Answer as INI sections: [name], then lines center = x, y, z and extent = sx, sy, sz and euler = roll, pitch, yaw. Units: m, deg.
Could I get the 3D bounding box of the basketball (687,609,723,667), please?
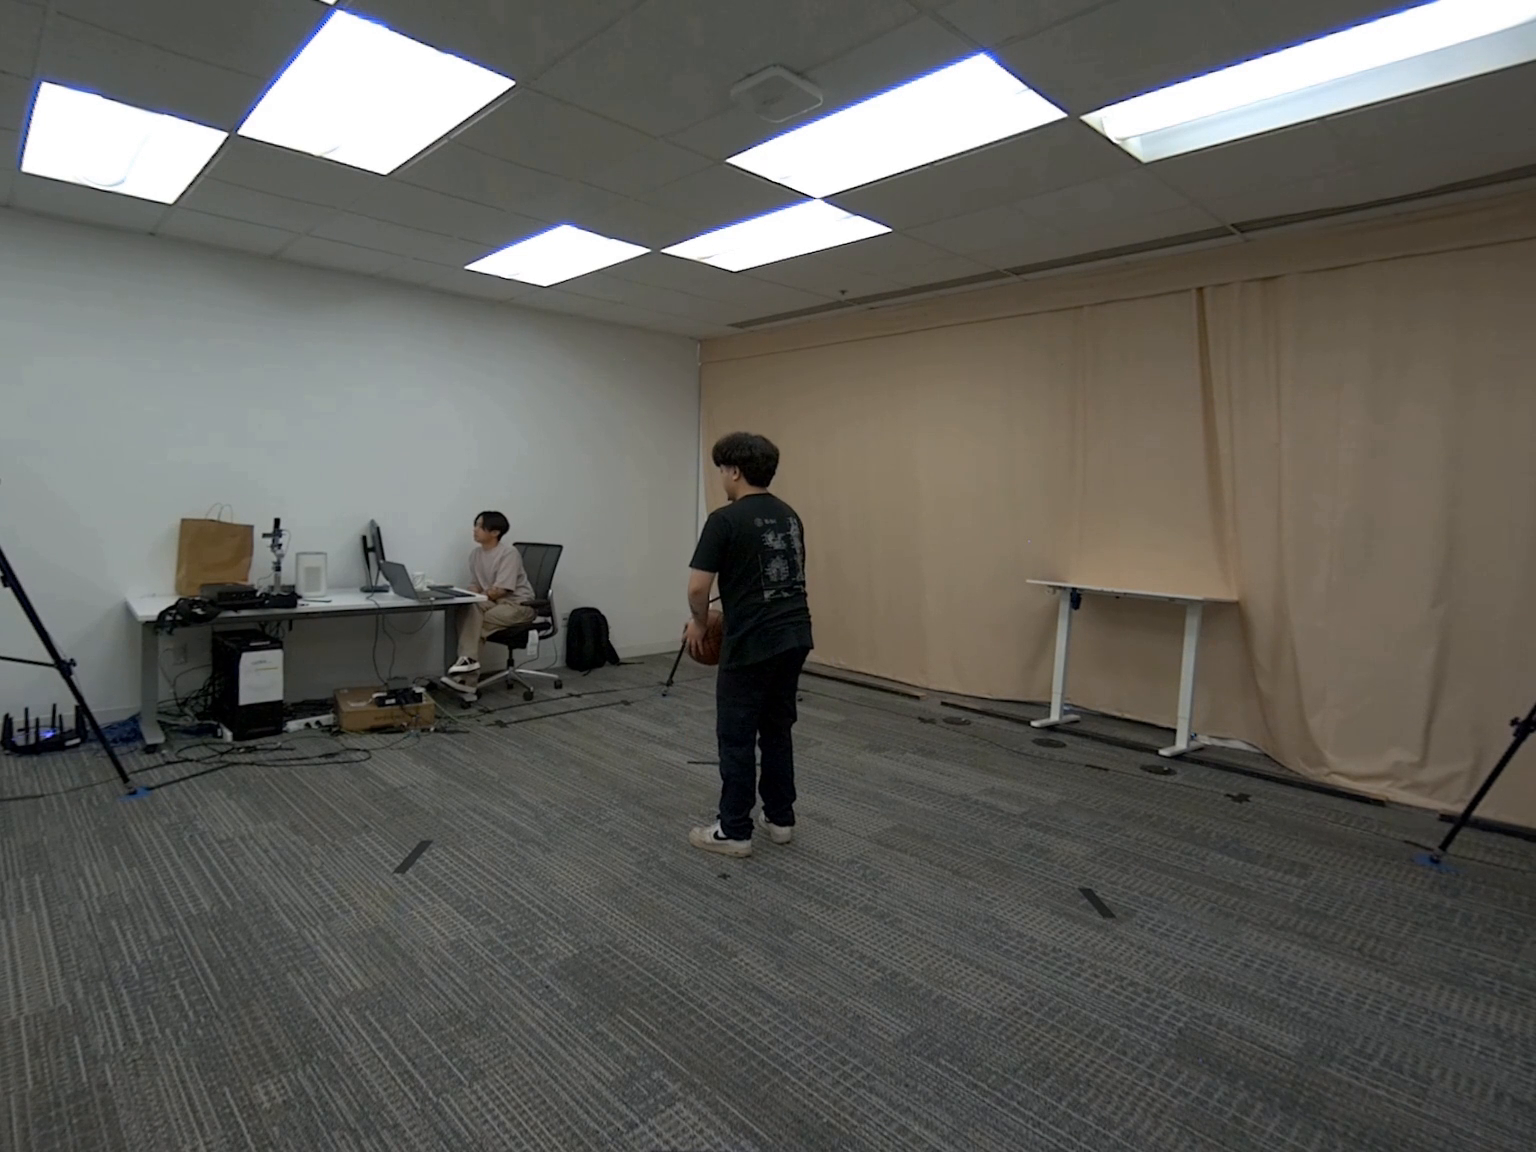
[basketball]
center = -0.246, 0.262, 3.601
extent = 0.236, 0.235, 0.237
euler = 1, 4, -1
